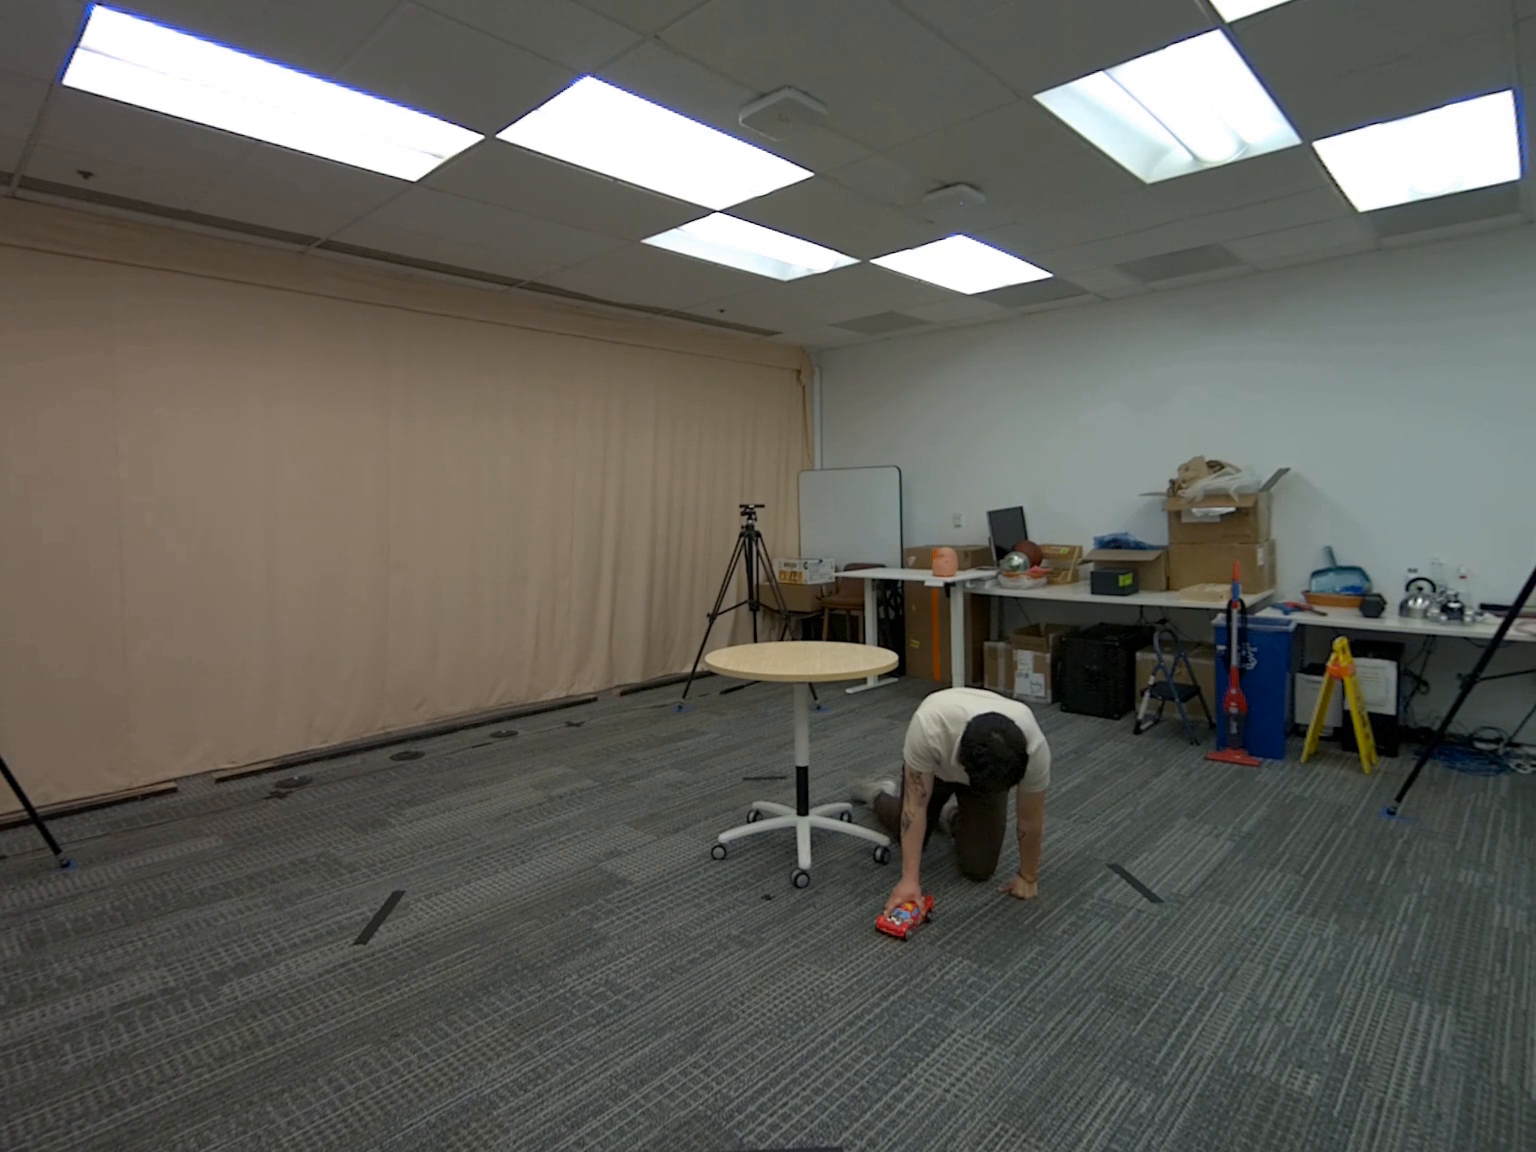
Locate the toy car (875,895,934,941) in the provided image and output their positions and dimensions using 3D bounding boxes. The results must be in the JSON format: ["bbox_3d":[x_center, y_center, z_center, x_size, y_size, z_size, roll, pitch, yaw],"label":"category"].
[{"bbox_3d":[0.469,1.116,2.777,0.134,0.082,0.249,4,18,39],"label":"toy car"}]
